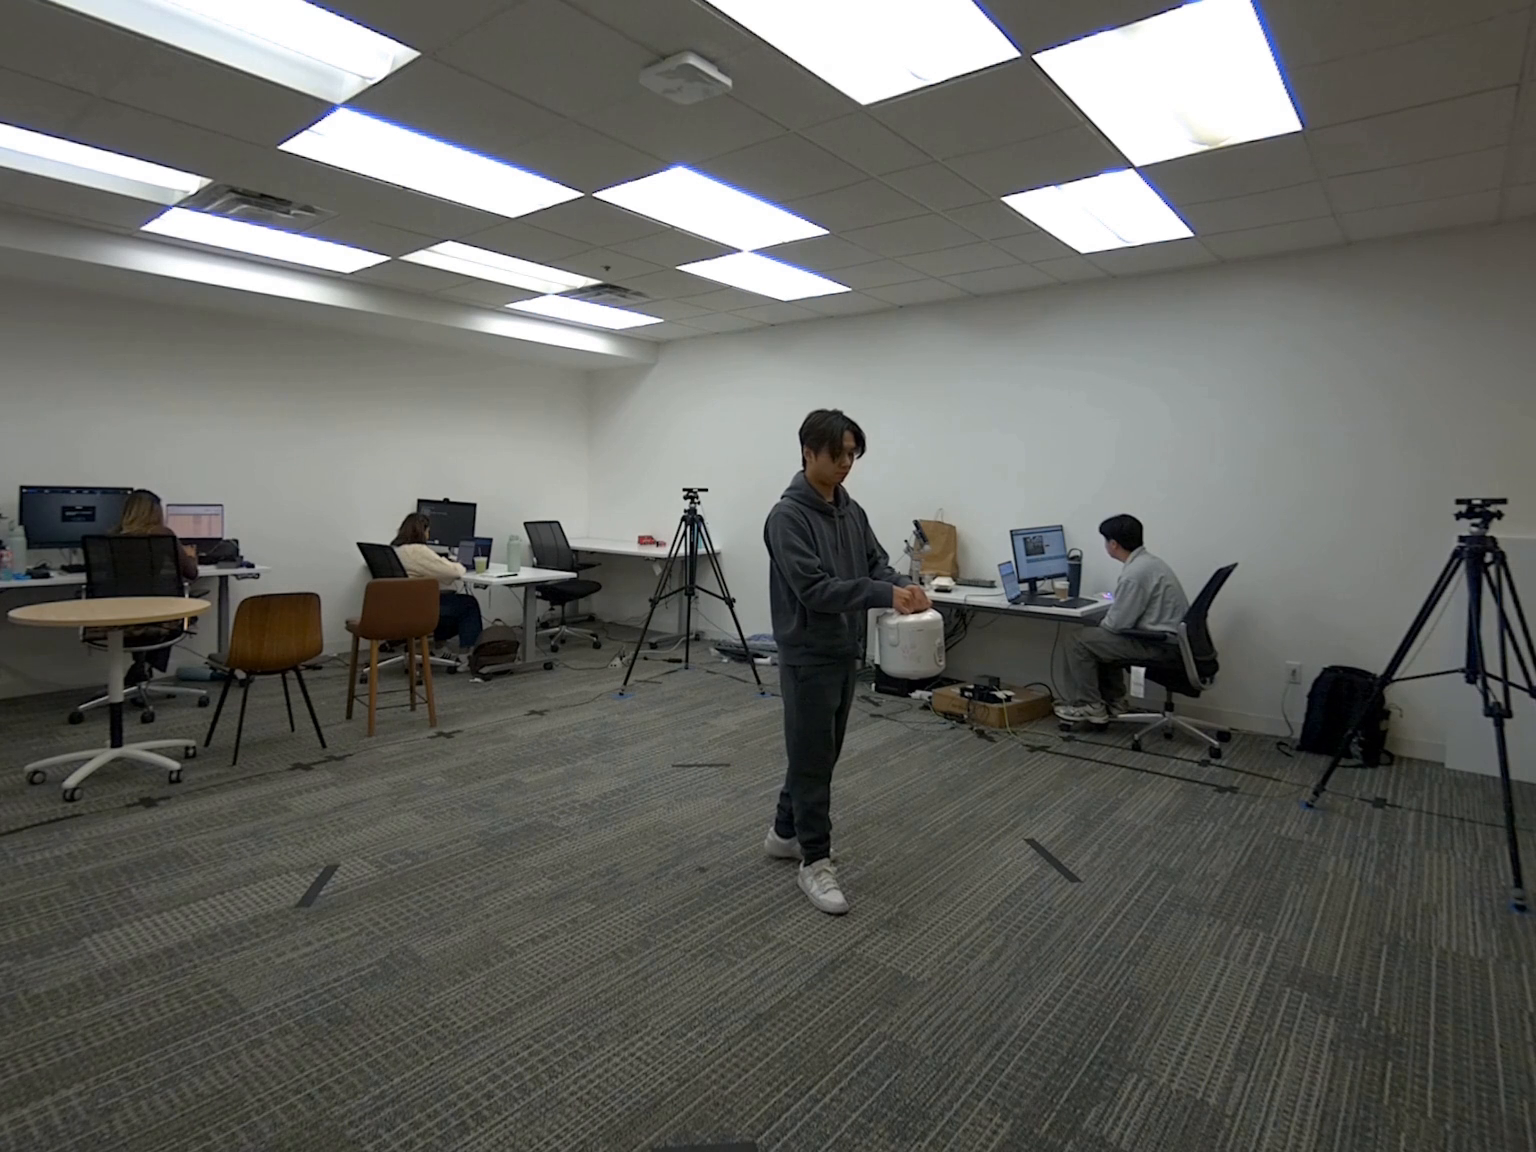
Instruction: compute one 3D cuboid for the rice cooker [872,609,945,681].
[{"bbox_3d":[0.459,0.204,2.789,0.215,0.232,0.224,-10,7,-44],"label":"rice cooker"}]
